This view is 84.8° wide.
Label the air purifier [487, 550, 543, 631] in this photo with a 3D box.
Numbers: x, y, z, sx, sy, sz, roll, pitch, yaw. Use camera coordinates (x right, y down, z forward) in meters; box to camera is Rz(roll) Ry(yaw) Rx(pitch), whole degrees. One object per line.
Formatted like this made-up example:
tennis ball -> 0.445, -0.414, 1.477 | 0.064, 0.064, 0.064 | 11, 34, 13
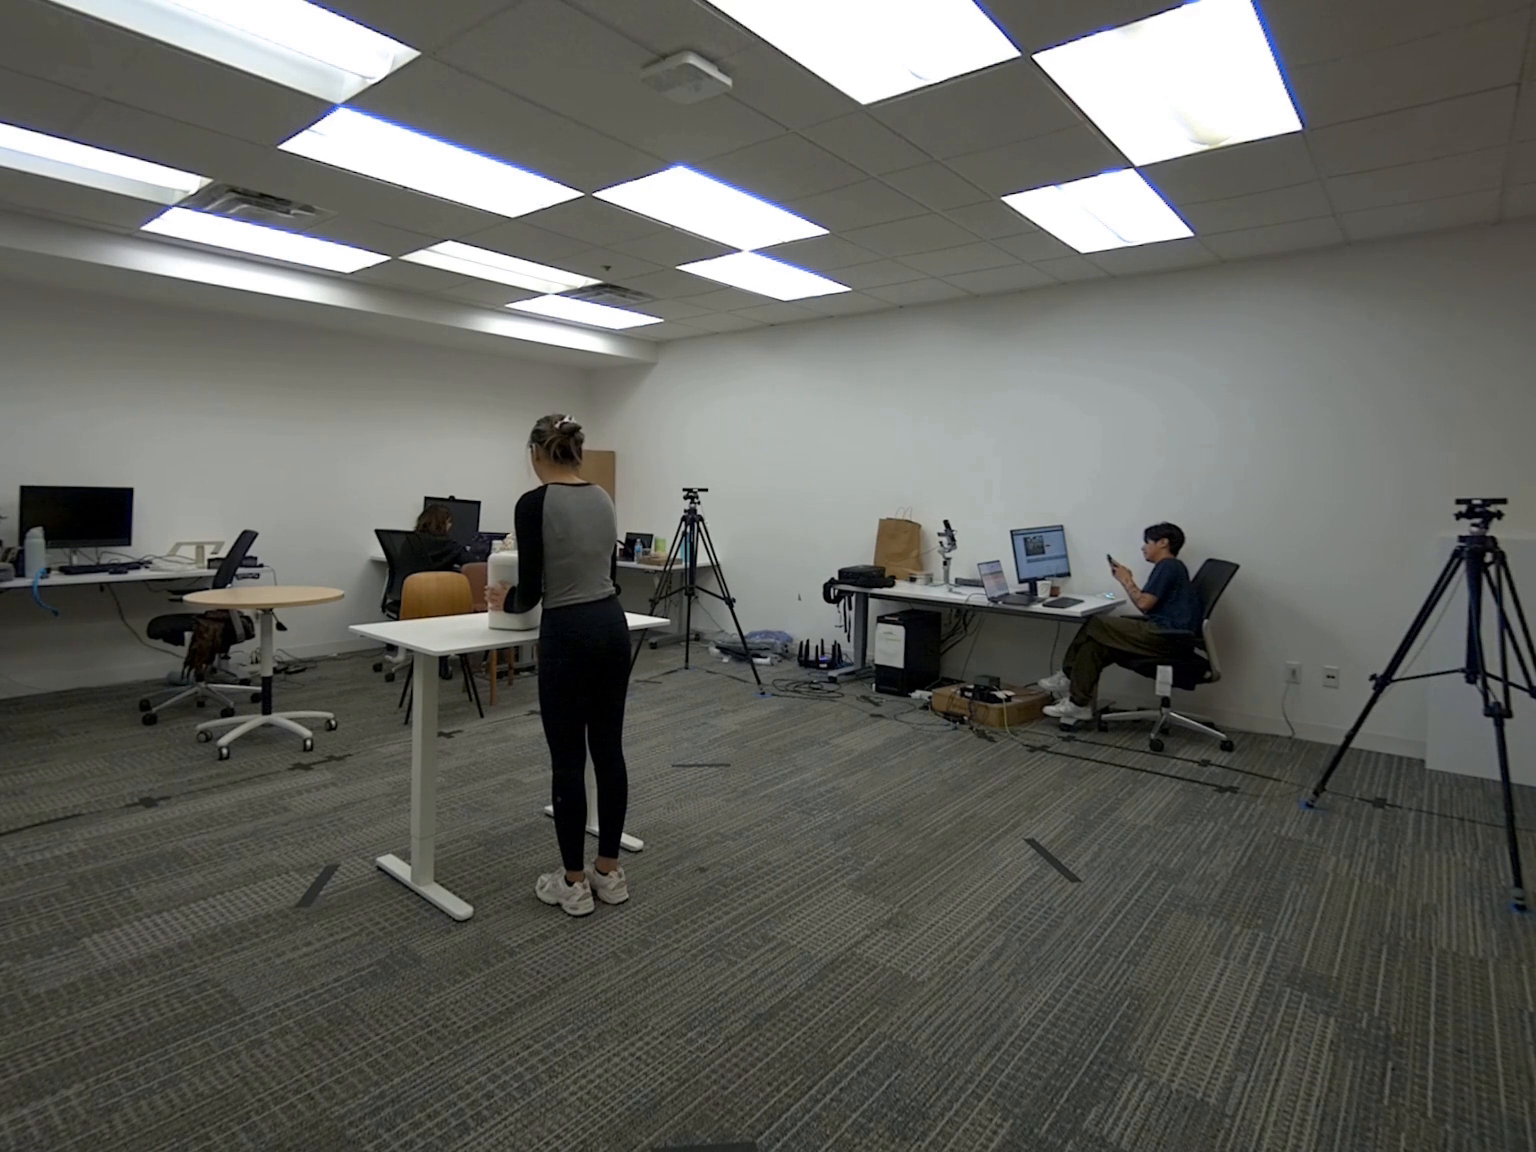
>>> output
air purifier -> -0.912, 0.043, 3.051 | 0.174, 0.264, 0.169 | 3, 5, 13
